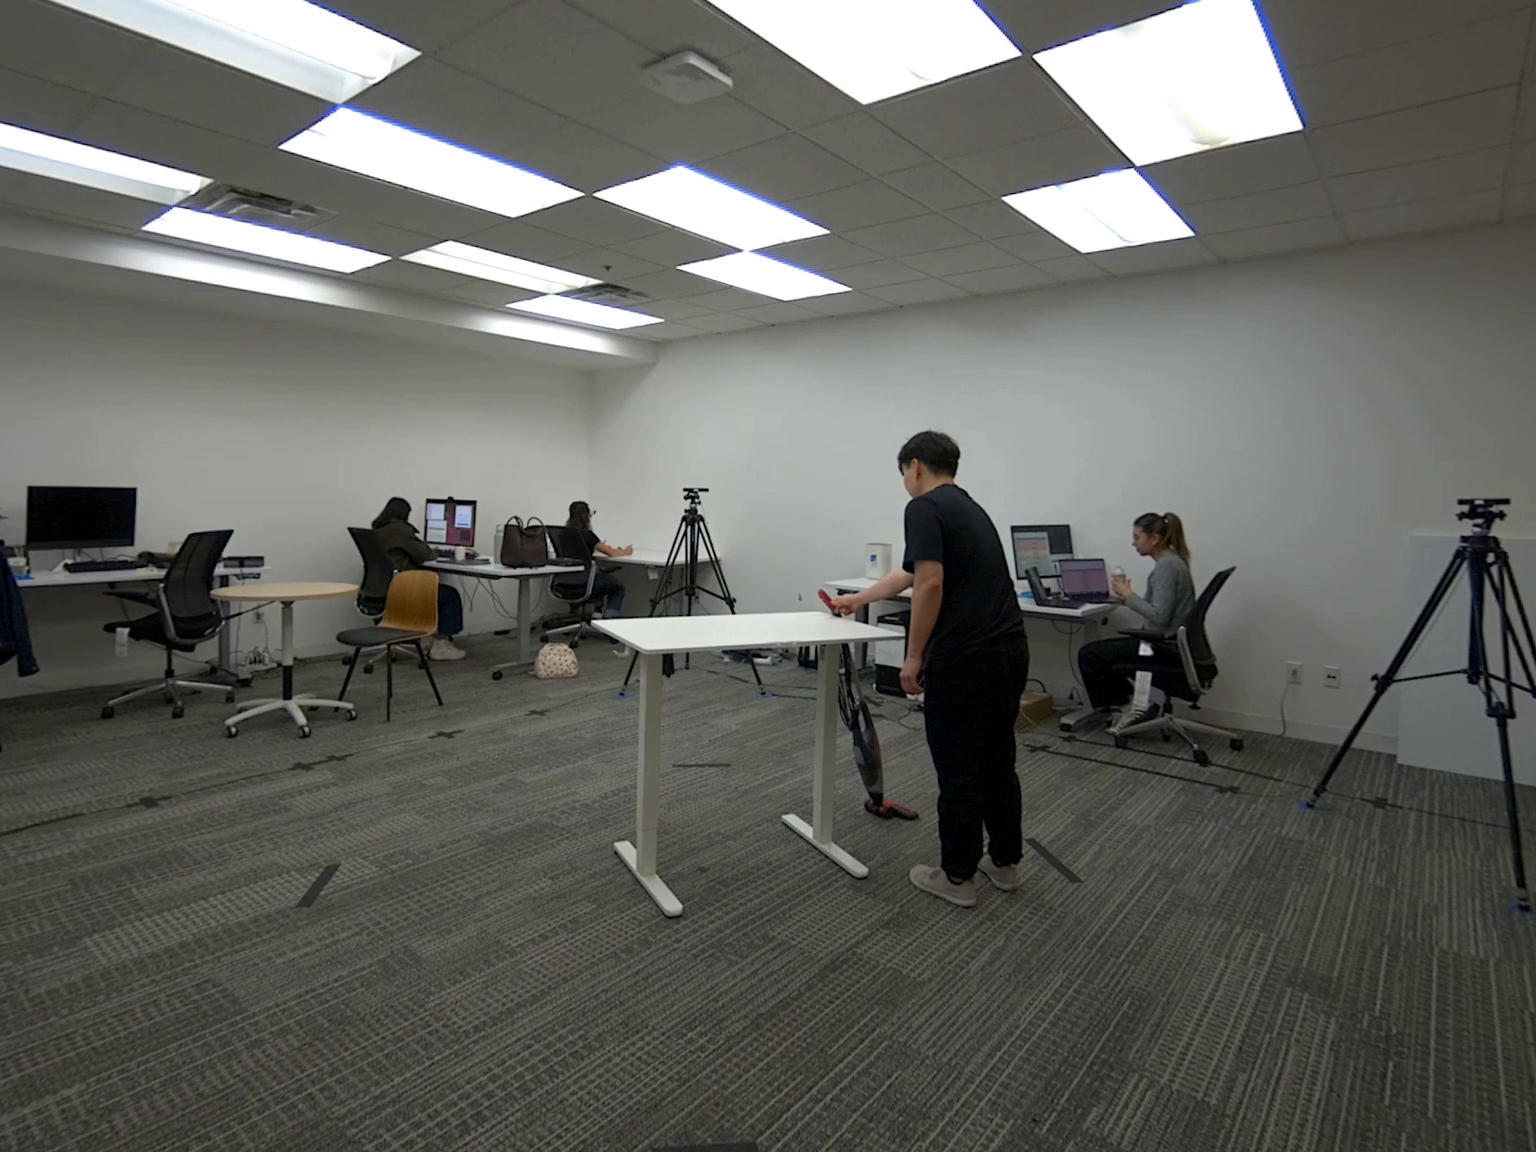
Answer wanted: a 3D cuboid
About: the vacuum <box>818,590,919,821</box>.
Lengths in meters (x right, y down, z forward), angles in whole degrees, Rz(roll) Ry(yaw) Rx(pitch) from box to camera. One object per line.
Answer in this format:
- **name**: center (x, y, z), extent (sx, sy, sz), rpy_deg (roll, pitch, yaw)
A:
- **vacuum**: center (0.368, 0.548, 3.592), extent (0.142, 1.032, 0.260), rpy_deg (-27, 17, -35)
